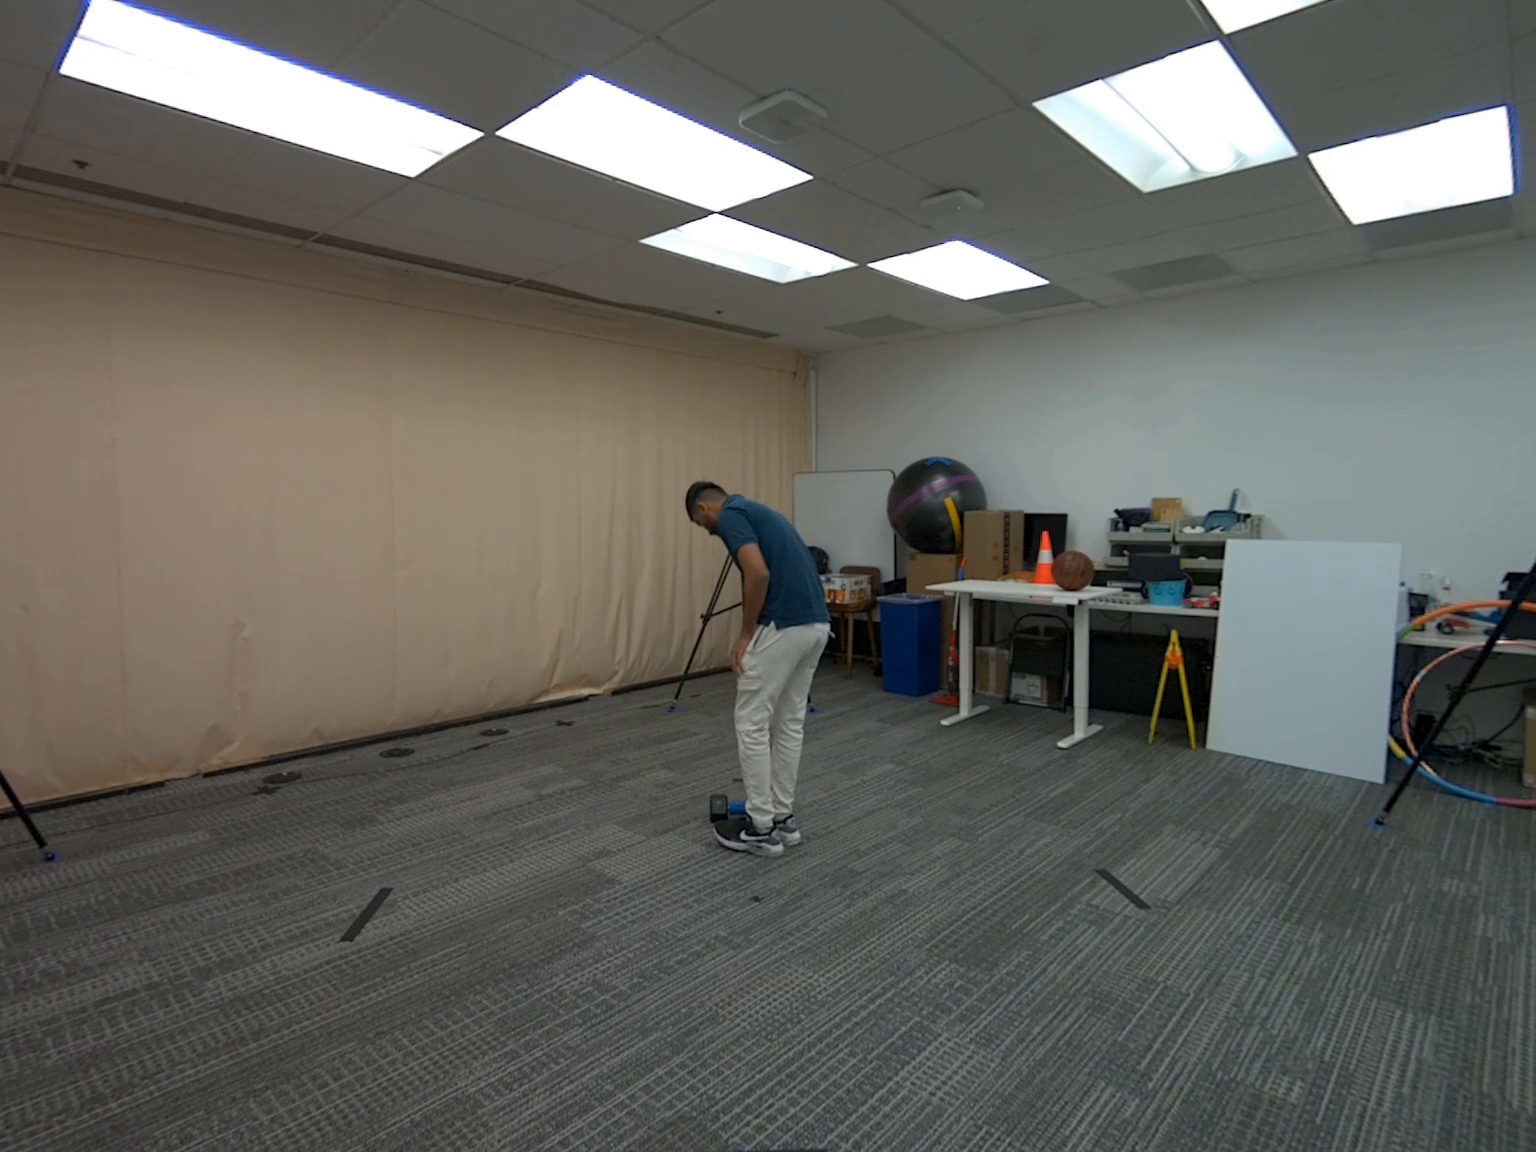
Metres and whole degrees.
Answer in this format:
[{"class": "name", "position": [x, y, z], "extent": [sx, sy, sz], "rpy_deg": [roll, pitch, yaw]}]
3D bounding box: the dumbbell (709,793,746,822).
[{"class": "dumbbell", "position": [-0.115, 1.031, 3.735], "extent": [0.293, 0.125, 0.107], "rpy_deg": [0, -27, -1]}]
